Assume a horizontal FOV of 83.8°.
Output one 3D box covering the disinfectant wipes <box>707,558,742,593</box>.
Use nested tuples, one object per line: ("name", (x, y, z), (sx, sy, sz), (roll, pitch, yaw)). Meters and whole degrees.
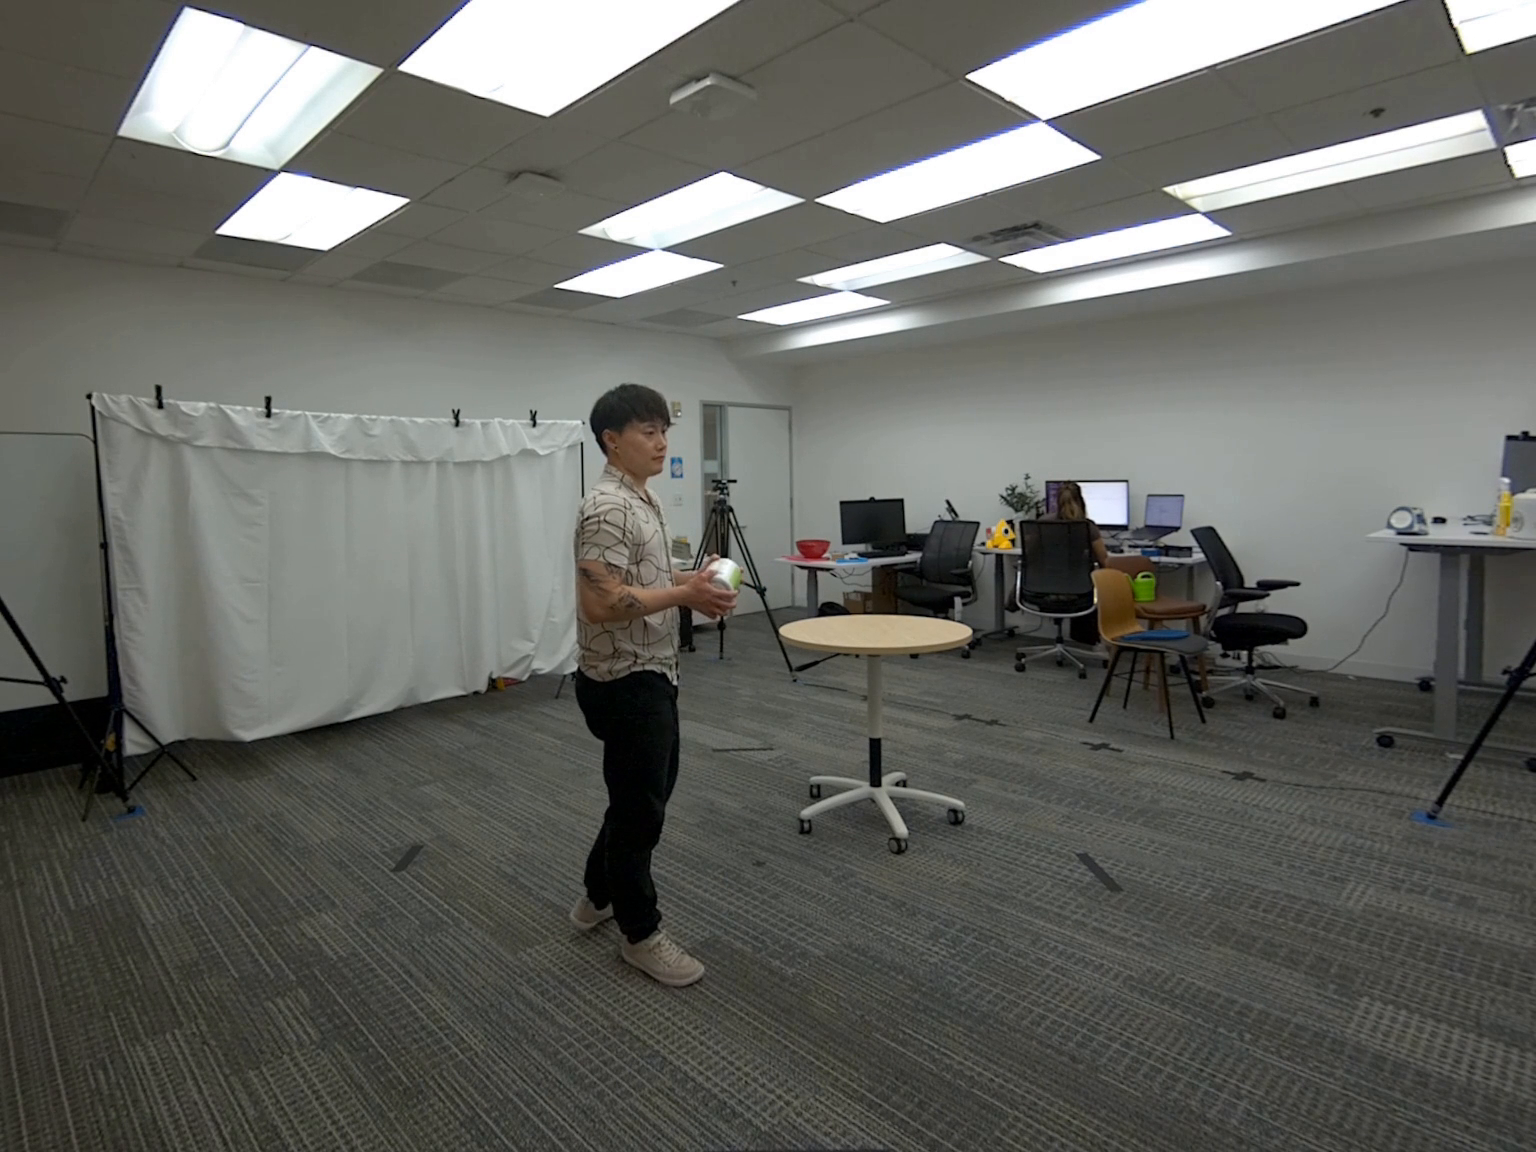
("disinfectant wipes", (-0.148, 0.030, 2.415), (0.118, 0.116, 0.220), (-1, 14, 0))
